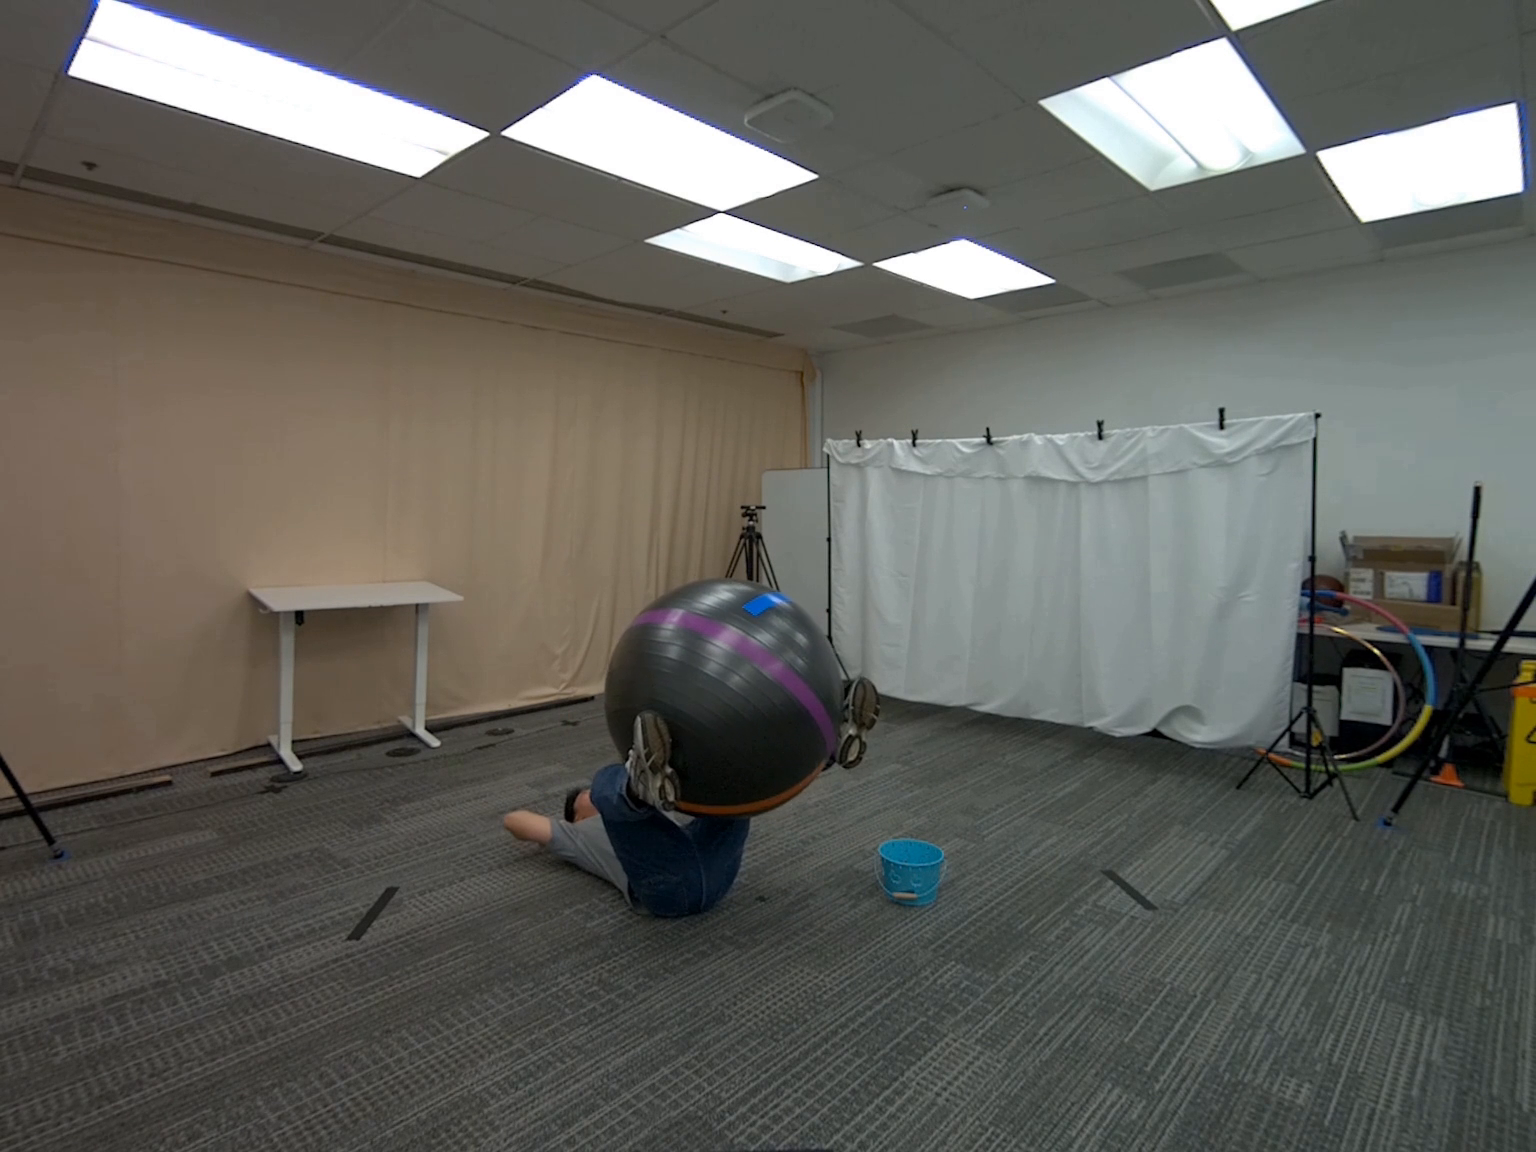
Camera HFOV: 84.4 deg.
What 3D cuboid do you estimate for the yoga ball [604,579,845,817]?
[{"bbox_3d":[-0.146,0.387,2.698,0.757,0.756,0.761,0,4,-2],"label":"yoga ball"}]
